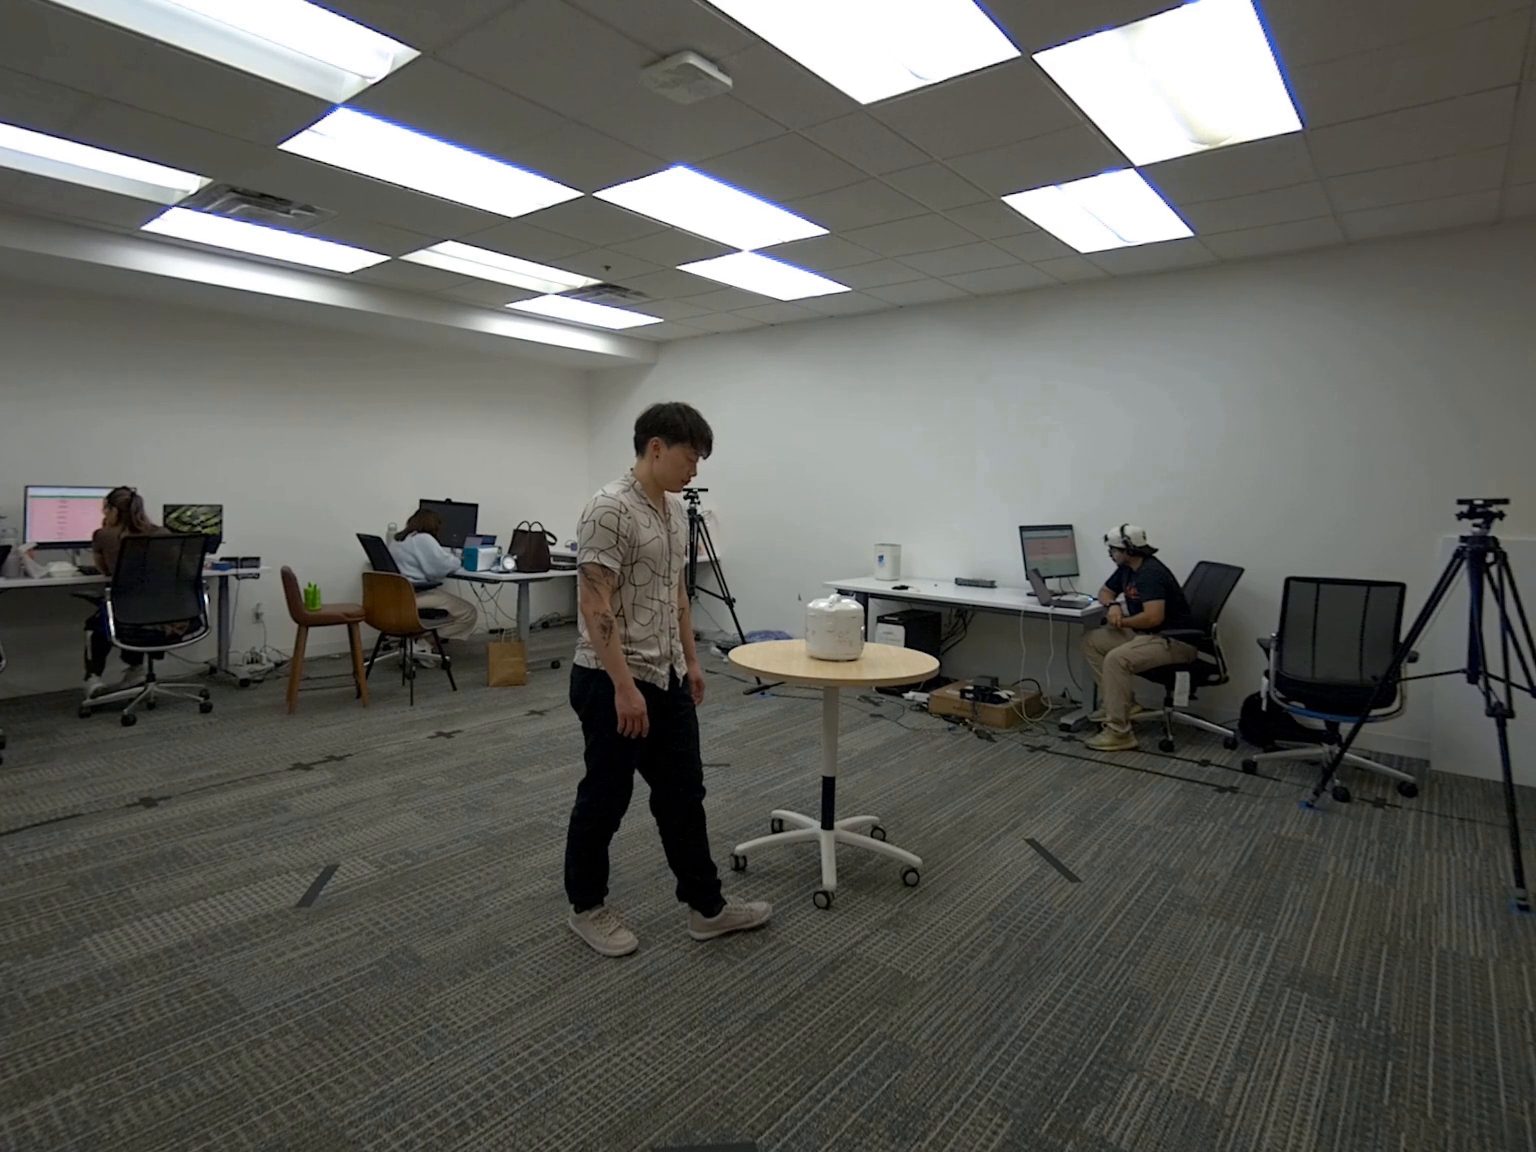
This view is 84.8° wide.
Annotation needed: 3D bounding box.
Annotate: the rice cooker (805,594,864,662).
[{"bbox_3d":[0.237,0.179,3.125,0.221,0.232,0.217,1,4,17],"label":"rice cooker"}]
